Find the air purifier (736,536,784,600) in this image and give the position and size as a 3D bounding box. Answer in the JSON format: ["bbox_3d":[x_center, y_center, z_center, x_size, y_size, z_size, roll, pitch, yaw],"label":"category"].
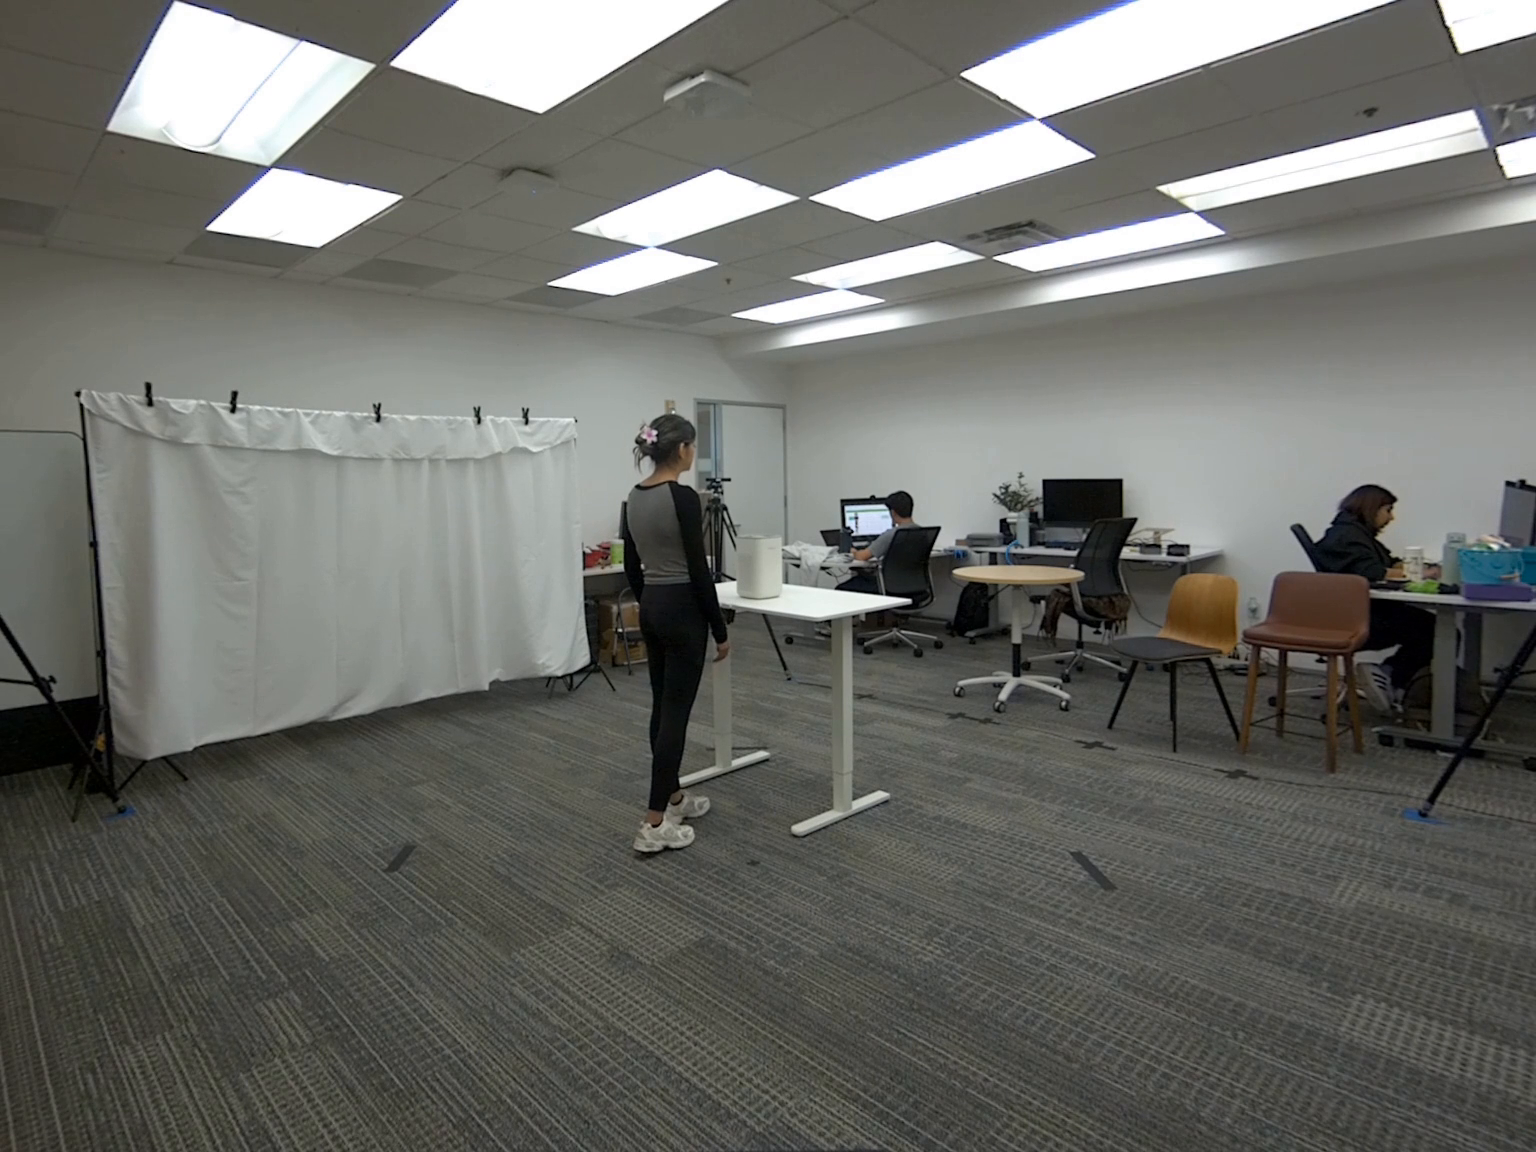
[{"bbox_3d":[-0.036,-0.042,3.715,0.166,0.264,0.177,-5,7,-42],"label":"air purifier"}]
